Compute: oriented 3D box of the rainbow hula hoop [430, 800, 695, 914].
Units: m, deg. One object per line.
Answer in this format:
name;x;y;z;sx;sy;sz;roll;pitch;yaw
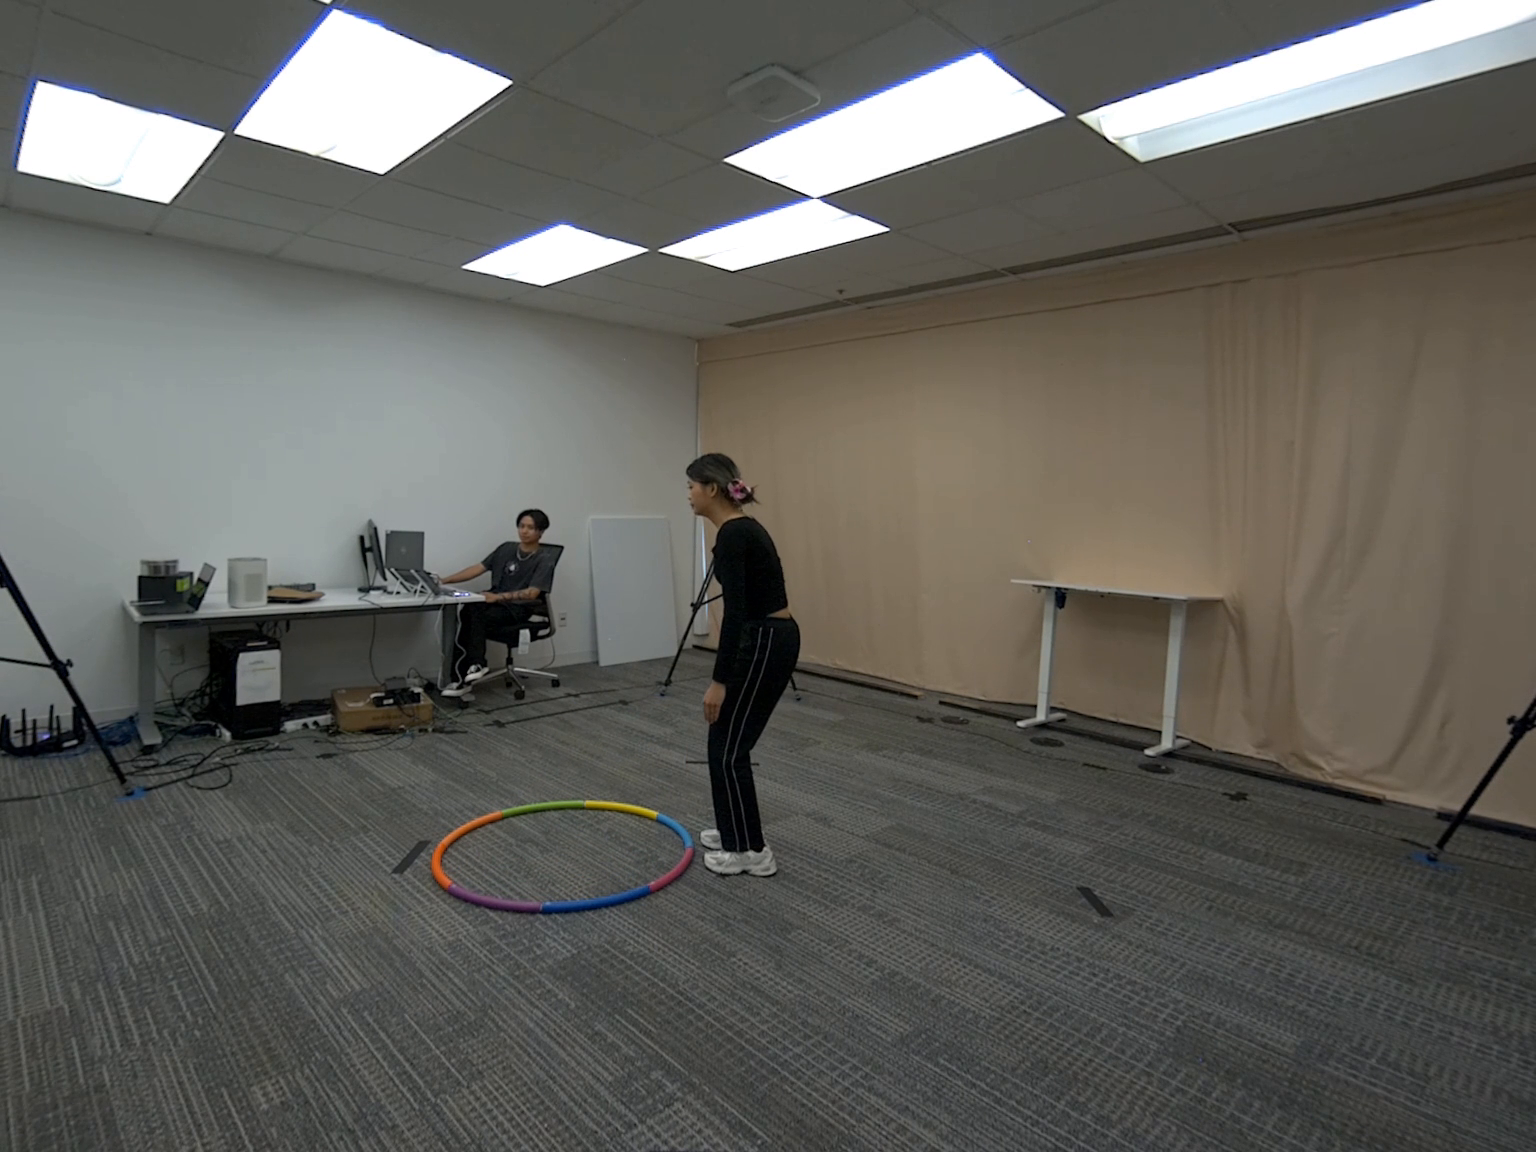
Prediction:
rainbow hula hoop;-0.790;1.053;3.270;0.978;0.035;0.982;2;6;-1
